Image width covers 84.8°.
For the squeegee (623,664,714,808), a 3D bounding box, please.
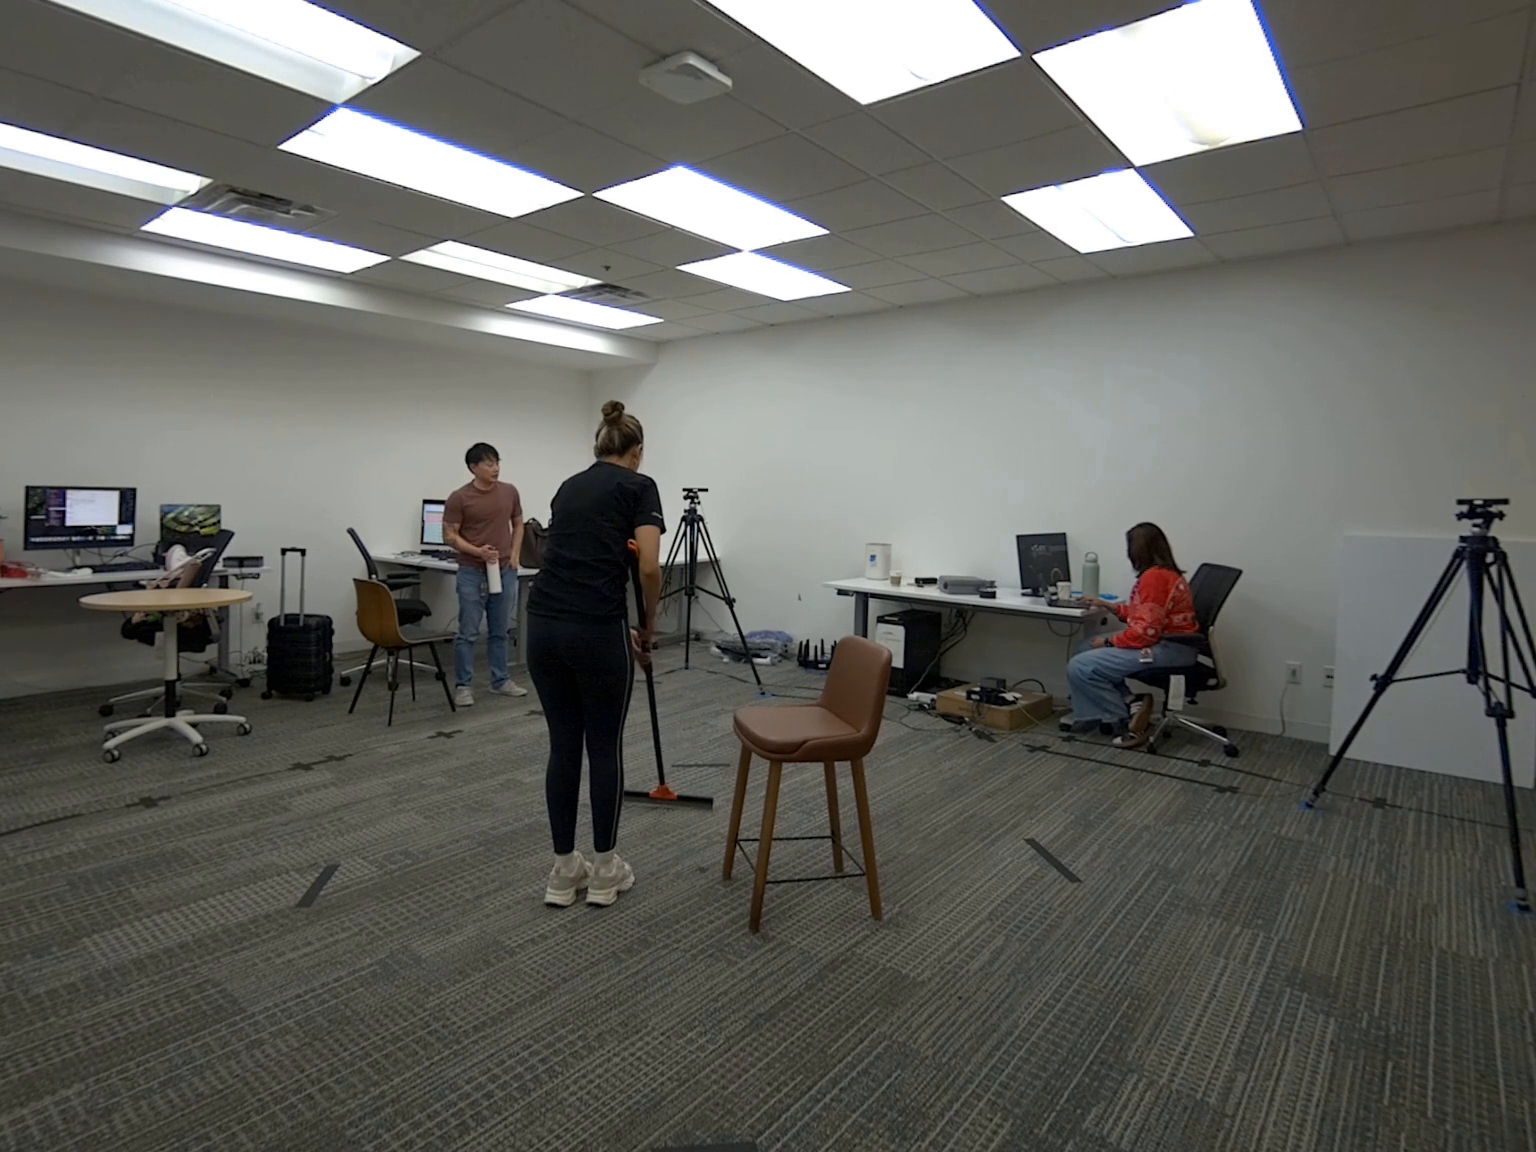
[{"bbox_3d":[-0.460,0.432,3.235,0.439,1.494,0.054,5,44,3],"label":"squeegee"}]
